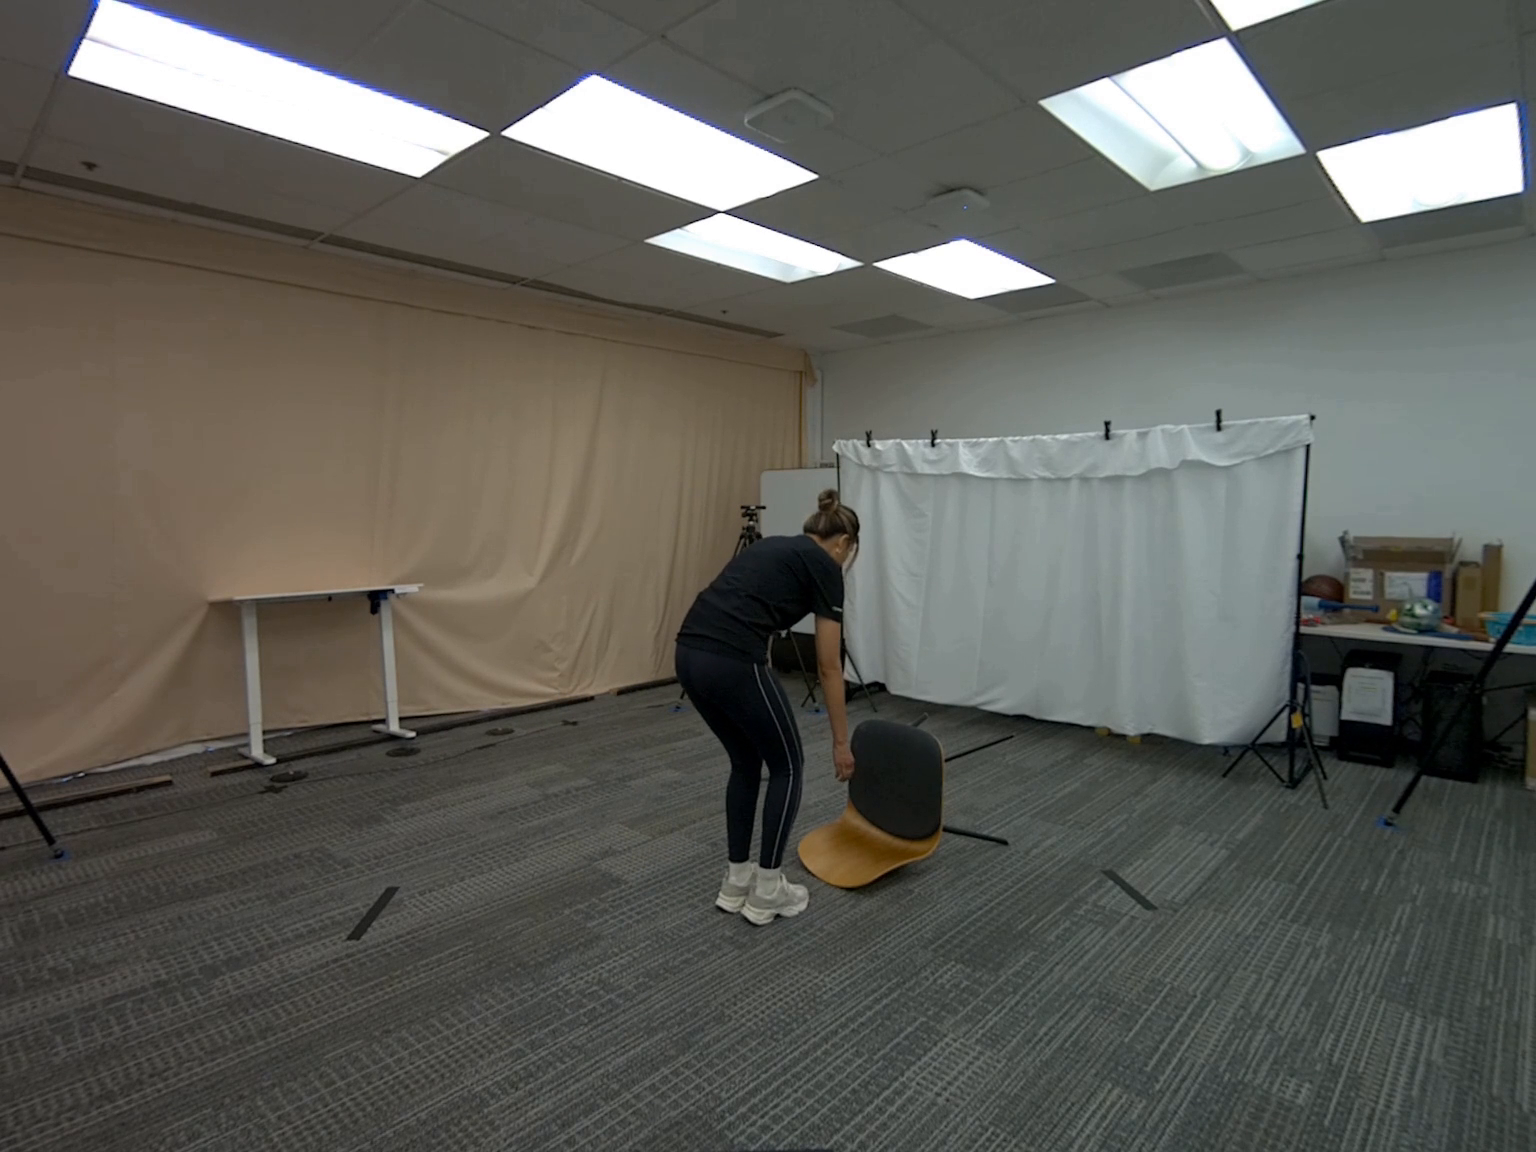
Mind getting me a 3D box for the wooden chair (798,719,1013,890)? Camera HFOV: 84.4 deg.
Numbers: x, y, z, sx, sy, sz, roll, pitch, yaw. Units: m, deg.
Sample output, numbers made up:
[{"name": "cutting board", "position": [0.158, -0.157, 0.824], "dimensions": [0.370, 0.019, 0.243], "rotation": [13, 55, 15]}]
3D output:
[{"name": "wooden chair", "position": [0.524, 0.847, 3.368], "dimensions": [0.851, 0.522, 0.494], "rotation": [-5, 5, -40]}]
